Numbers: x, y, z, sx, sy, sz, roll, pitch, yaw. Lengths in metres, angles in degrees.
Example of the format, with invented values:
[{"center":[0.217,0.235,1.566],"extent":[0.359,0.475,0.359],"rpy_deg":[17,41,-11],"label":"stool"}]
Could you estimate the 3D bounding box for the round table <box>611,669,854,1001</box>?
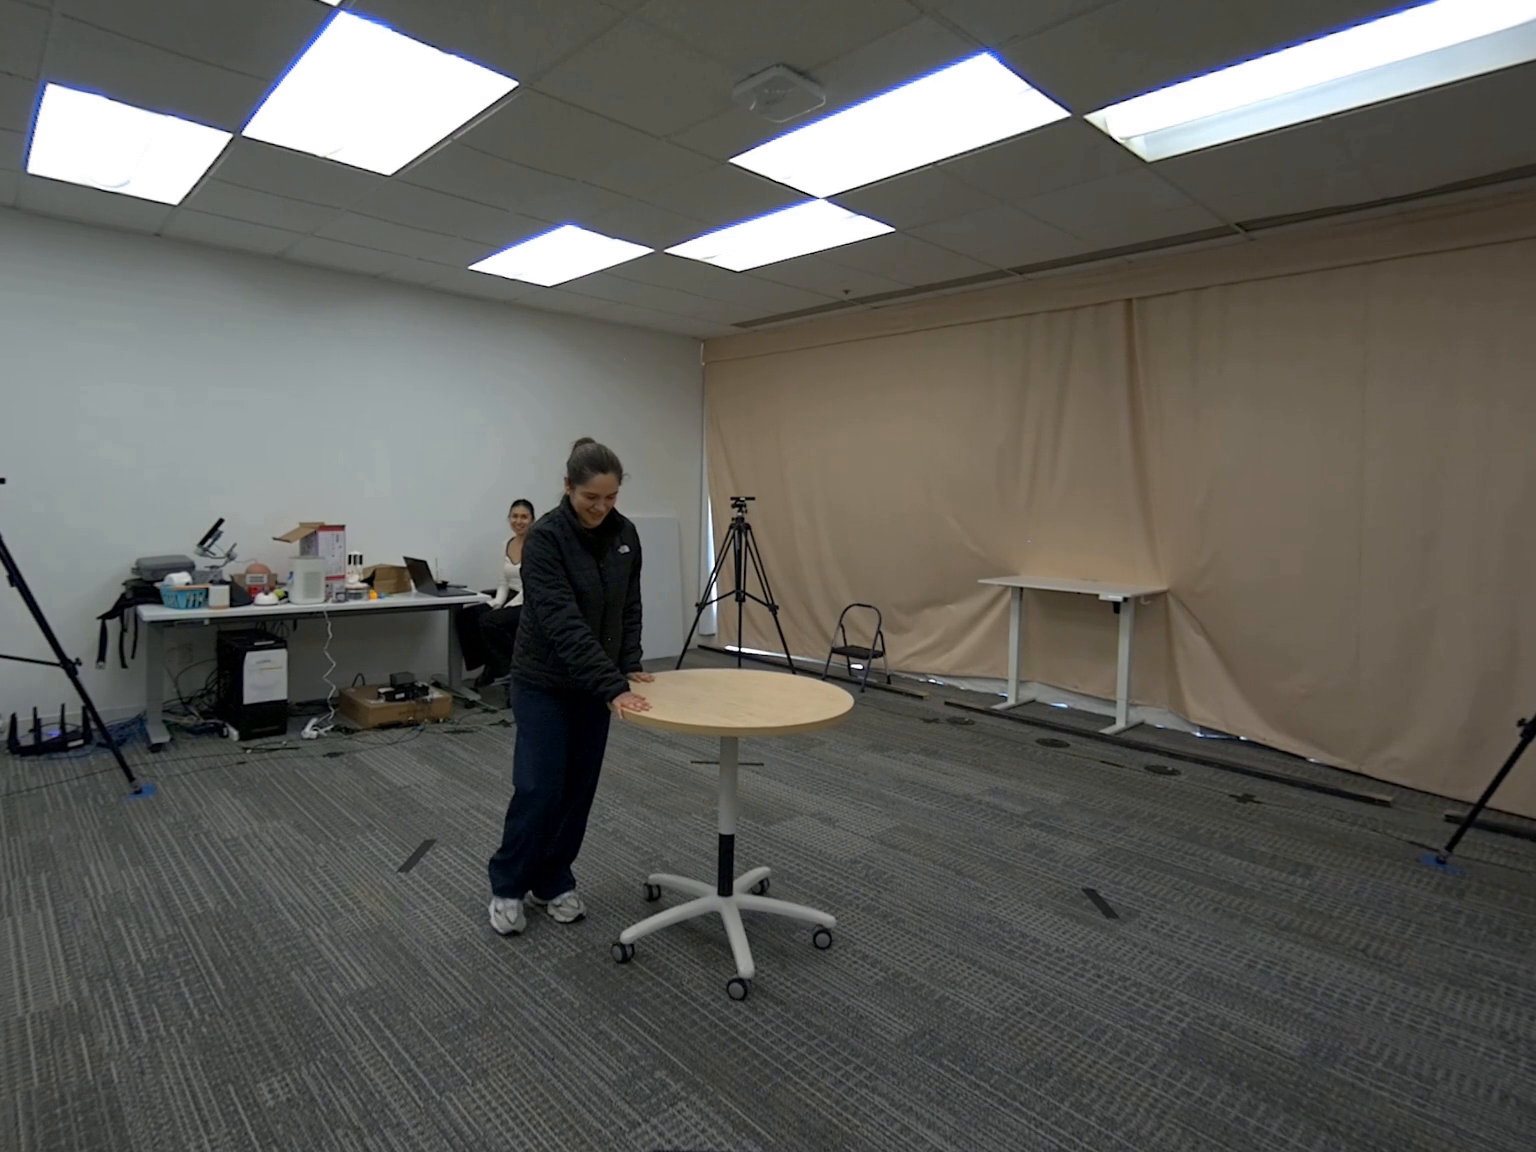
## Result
[{"center":[-0.145,0.758,2.626],"extent":[0.784,0.784,0.788],"rpy_deg":[2,4,-1],"label":"round table"}]
